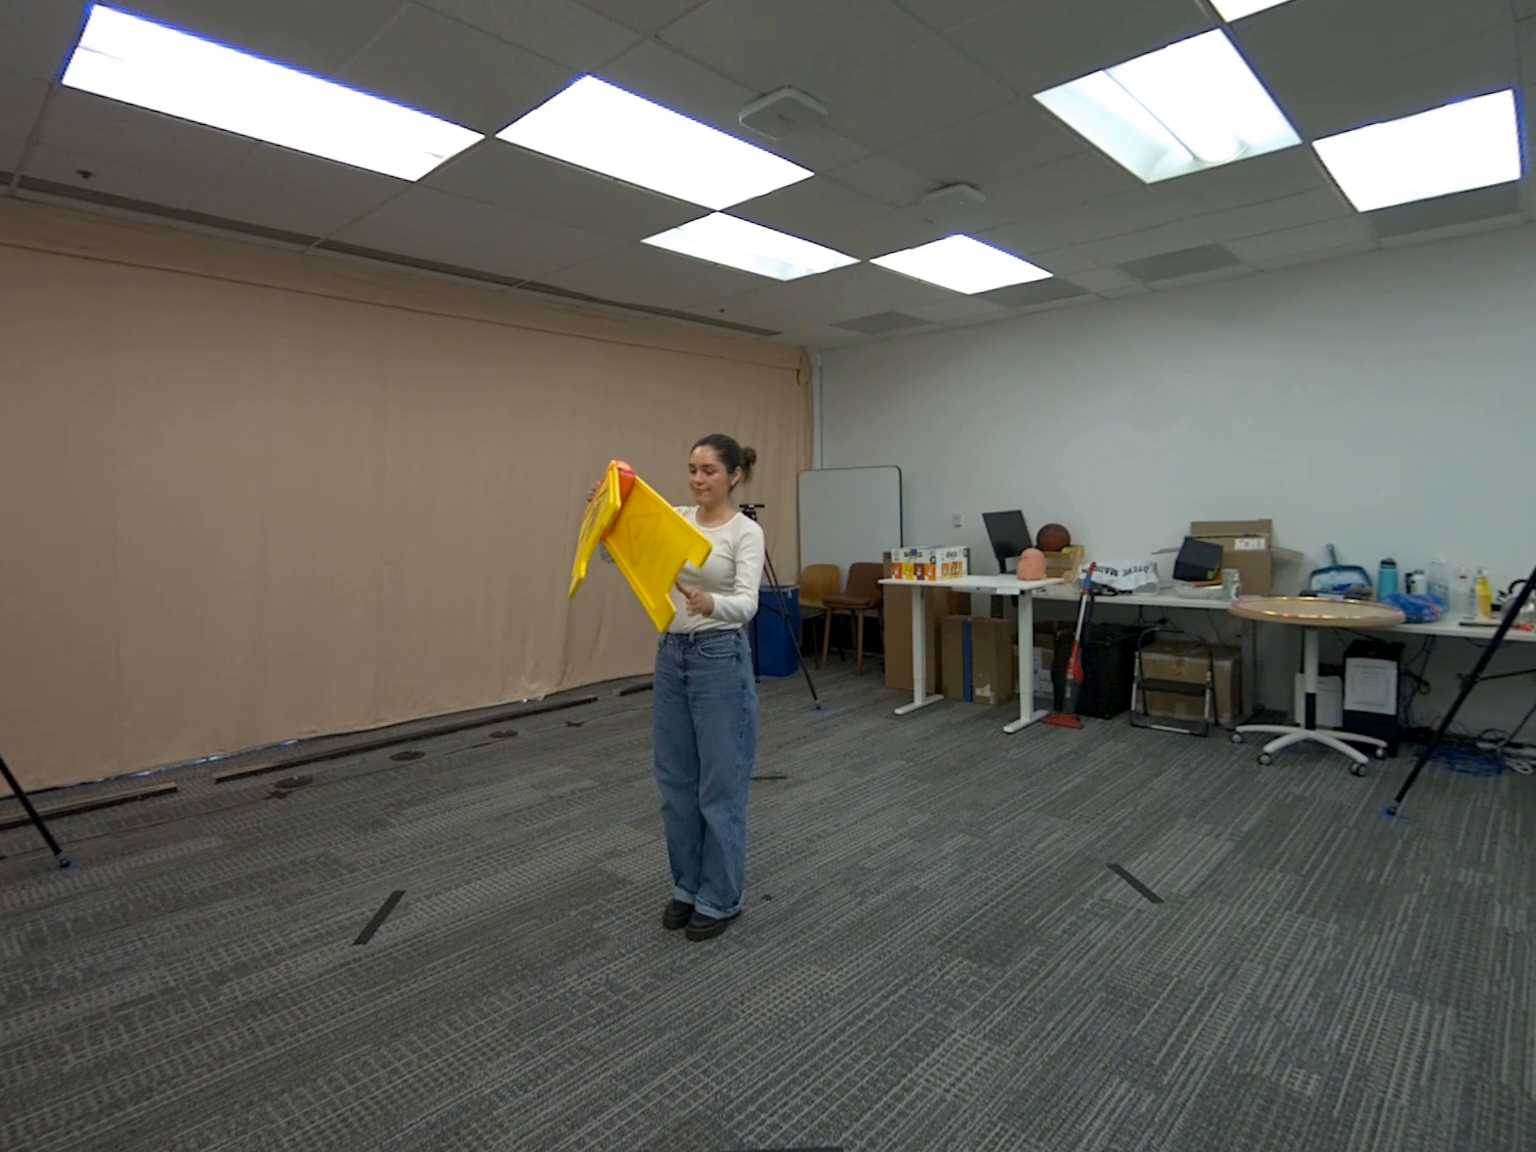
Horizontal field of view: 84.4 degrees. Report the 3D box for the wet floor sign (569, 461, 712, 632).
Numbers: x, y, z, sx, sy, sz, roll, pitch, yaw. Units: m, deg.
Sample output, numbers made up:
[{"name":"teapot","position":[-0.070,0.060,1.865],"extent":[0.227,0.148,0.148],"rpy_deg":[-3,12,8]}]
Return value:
[{"name":"wet floor sign","position":[-0.426,-0.139,2.419],"extent":[0.281,0.282,0.666],"rpy_deg":[21,17,-29]}]
